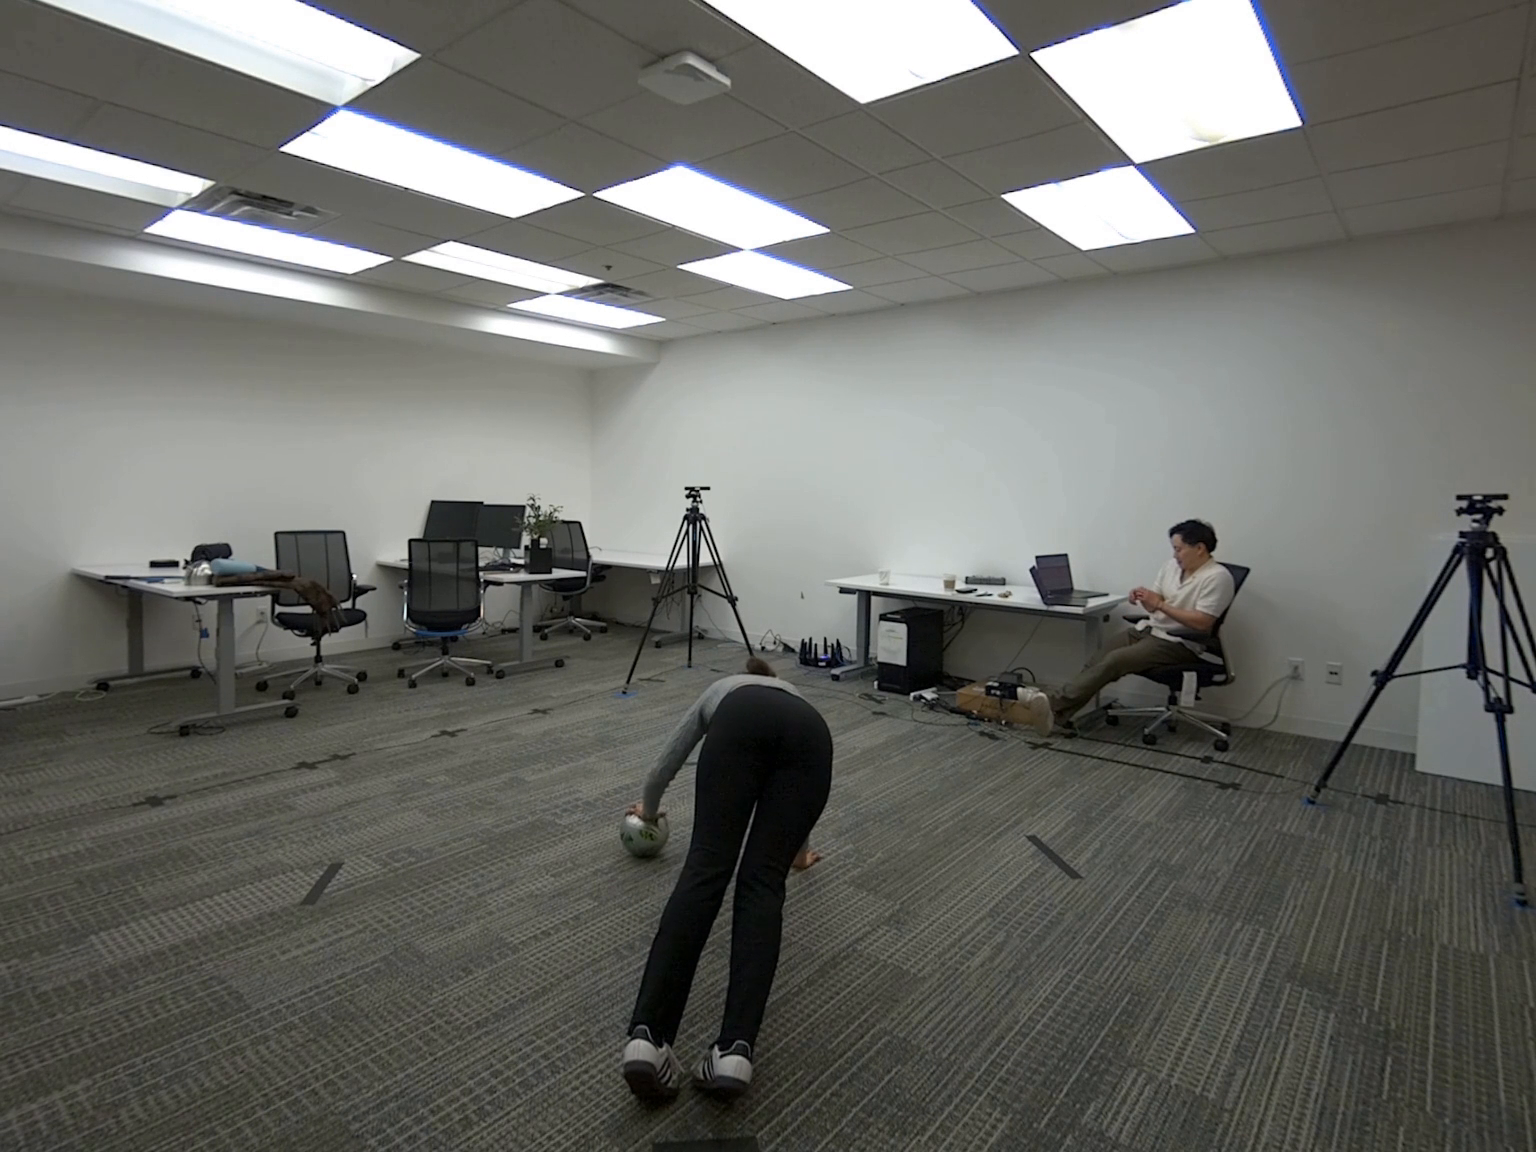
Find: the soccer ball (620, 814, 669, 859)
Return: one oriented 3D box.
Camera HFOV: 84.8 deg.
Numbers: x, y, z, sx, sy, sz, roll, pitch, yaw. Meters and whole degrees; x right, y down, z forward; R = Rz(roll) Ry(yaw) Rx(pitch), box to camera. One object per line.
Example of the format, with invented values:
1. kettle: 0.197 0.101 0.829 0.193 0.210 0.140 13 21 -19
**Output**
1. soccer ball: -0.475 0.958 3.211 0.187 0.187 0.188 1 4 -2
